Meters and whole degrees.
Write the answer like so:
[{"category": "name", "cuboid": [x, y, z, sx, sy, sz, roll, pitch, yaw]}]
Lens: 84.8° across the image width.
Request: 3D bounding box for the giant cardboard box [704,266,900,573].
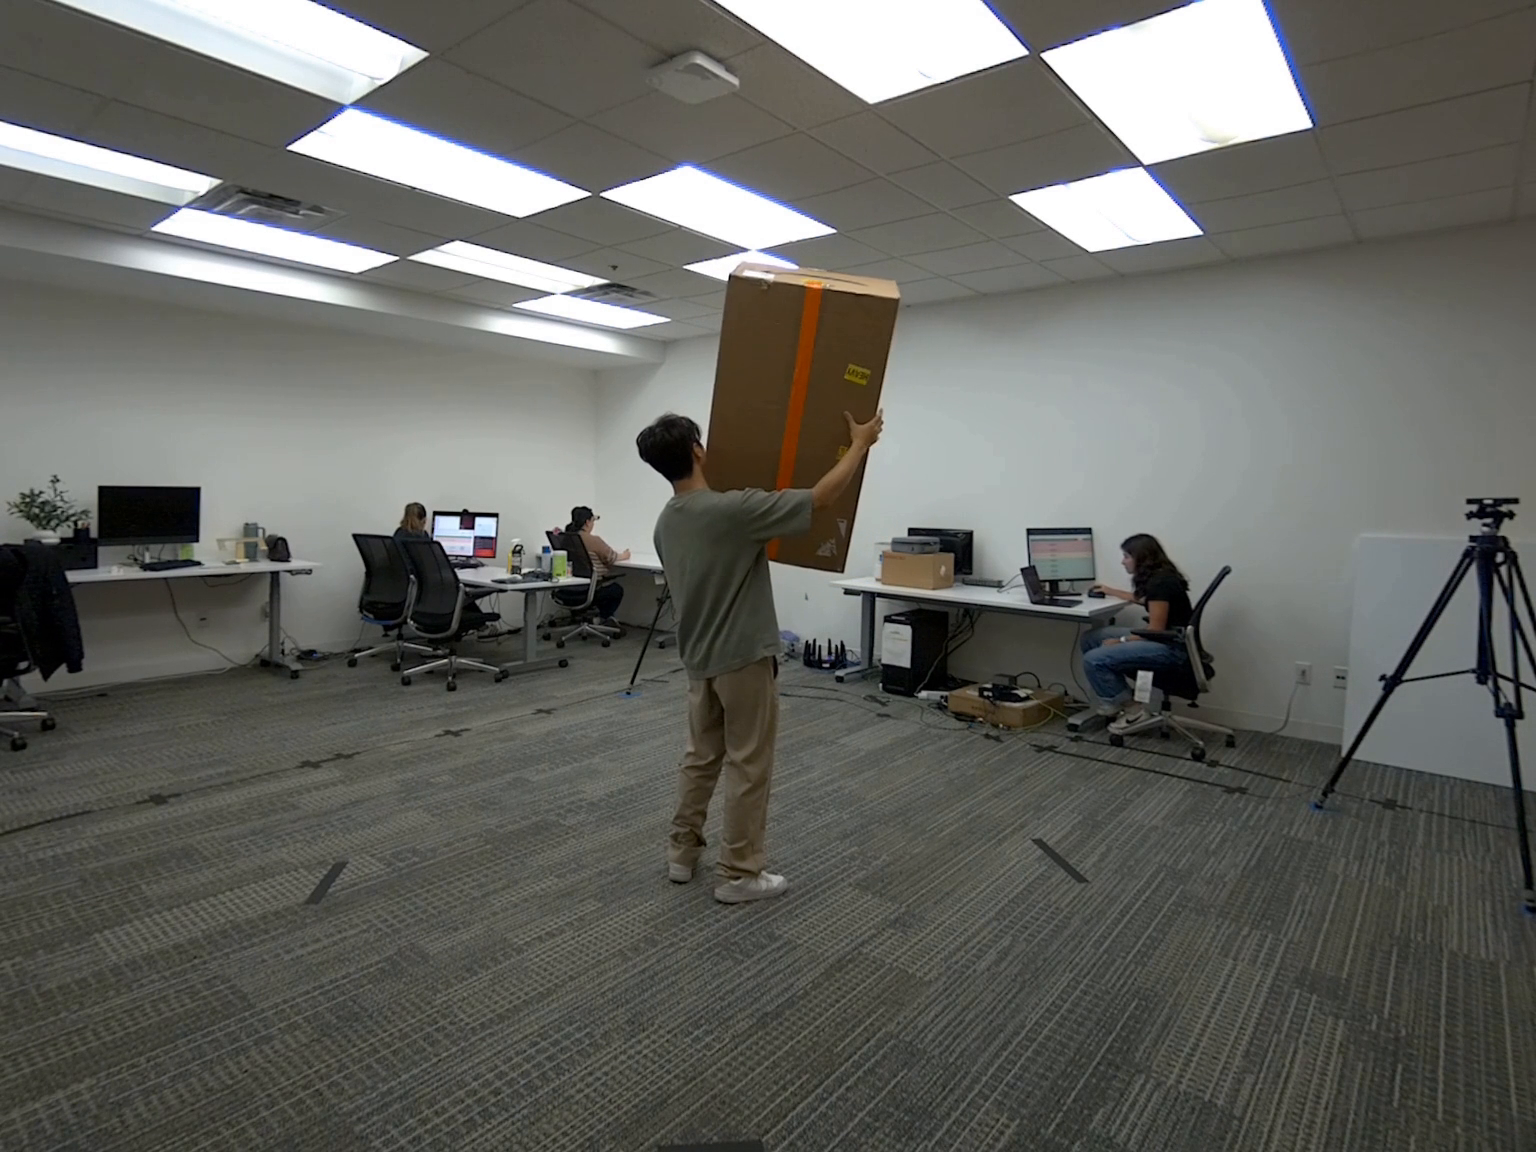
[{"category": "giant cardboard box", "cuboid": [0.084, -0.596, 3.184, 0.580, 1.007, 0.432, 11, 25, 3]}]
